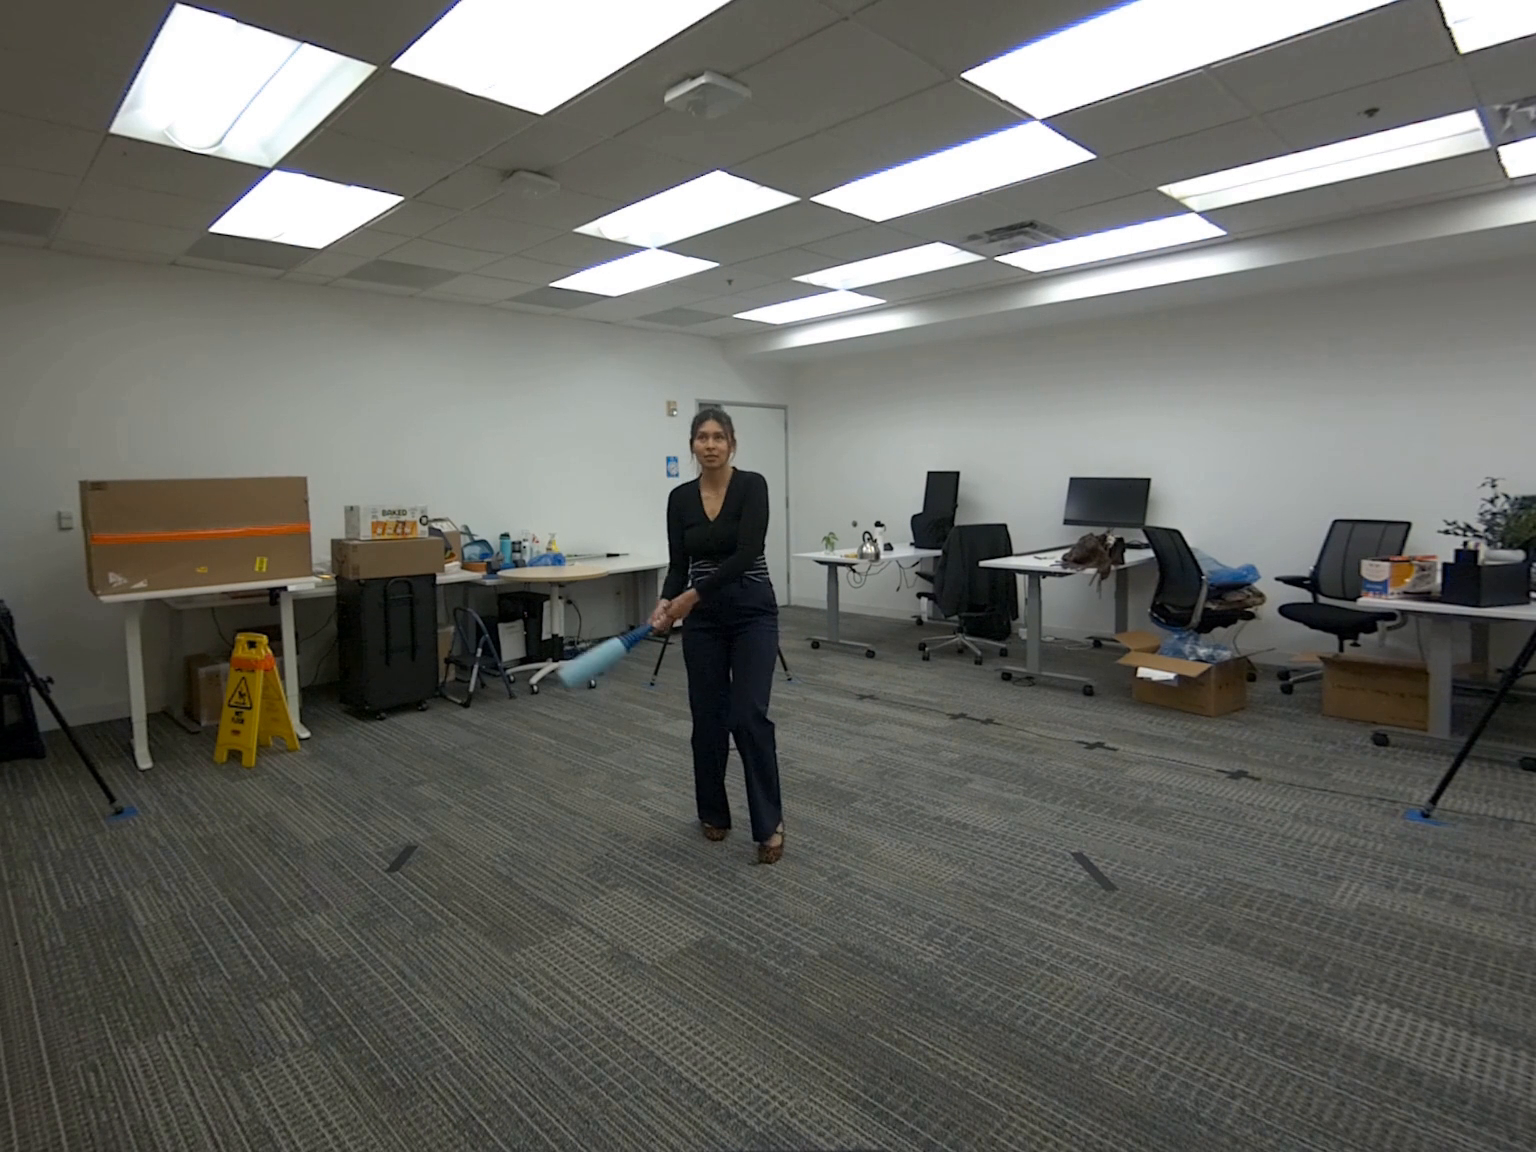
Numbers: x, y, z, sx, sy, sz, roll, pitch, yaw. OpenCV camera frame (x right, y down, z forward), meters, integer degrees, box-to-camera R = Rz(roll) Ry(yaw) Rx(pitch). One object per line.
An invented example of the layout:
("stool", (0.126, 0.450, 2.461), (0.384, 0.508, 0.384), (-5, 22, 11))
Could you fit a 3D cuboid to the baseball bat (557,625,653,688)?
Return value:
("baseball bat", (-0.474, 0.180, 3.064), (0.539, 0.087, 0.091), (-32, 18, -24))
